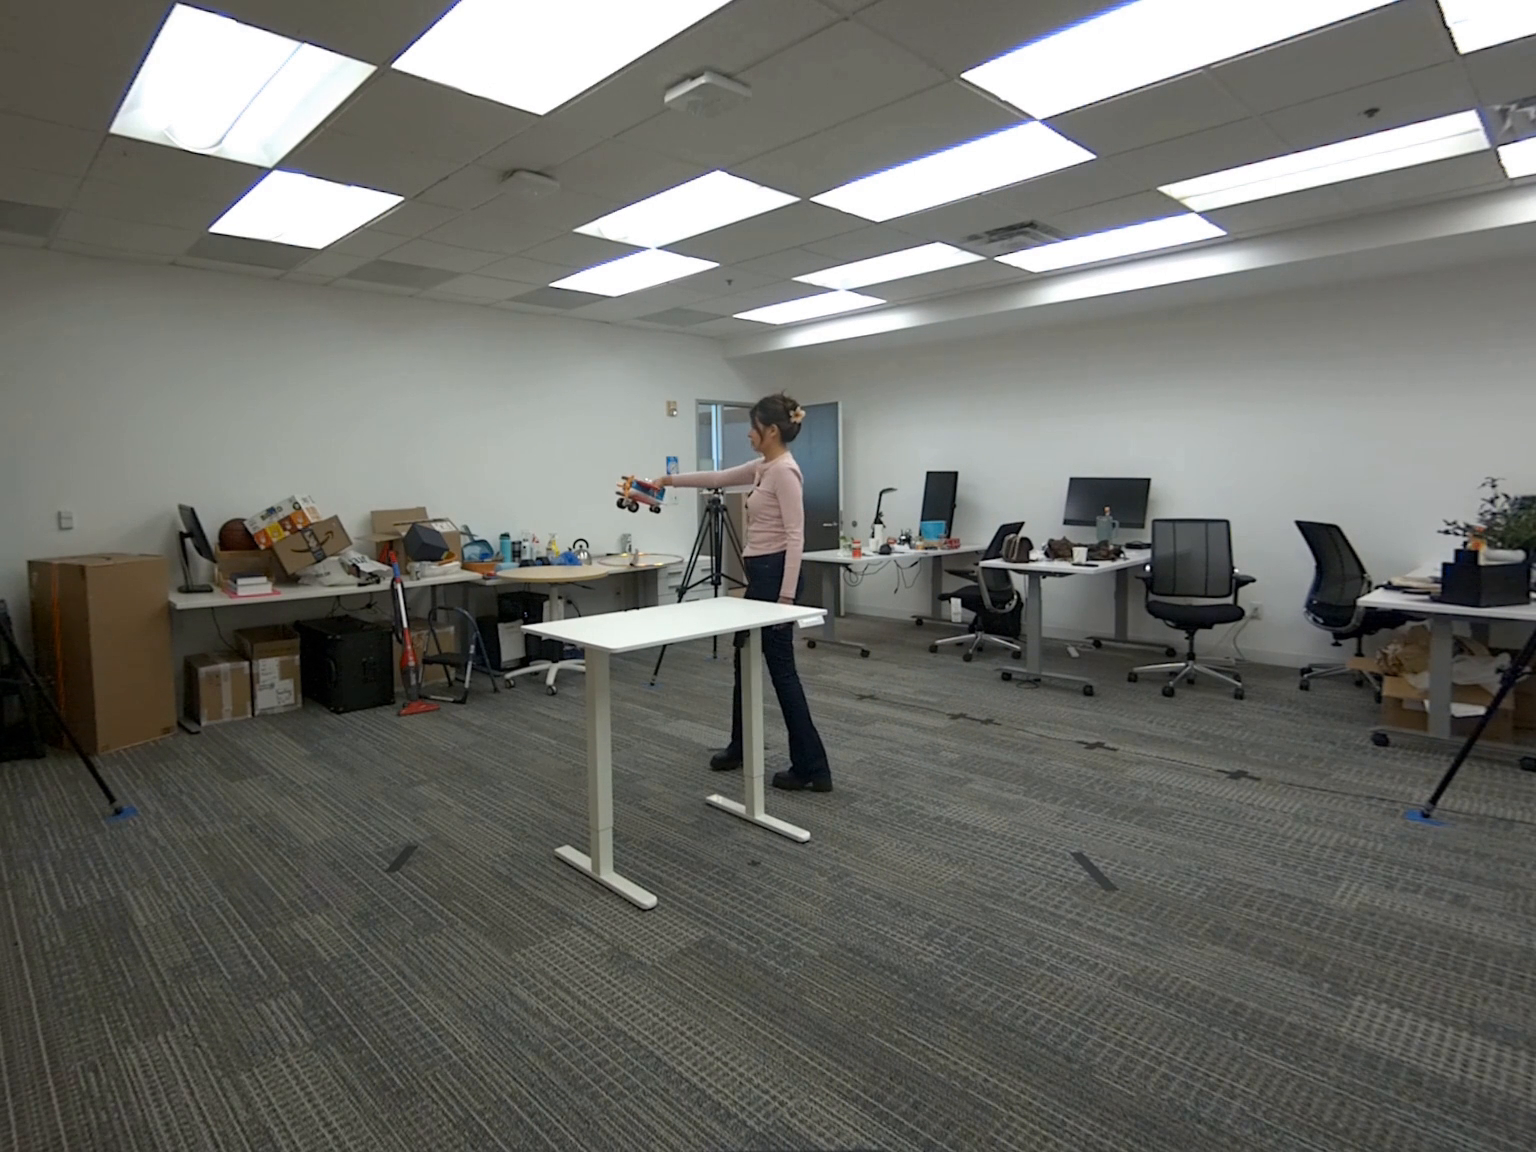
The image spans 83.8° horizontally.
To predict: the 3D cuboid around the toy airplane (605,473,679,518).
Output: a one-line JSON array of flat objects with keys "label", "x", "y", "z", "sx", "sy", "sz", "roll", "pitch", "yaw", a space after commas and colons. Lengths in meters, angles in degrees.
[{"label": "toy airplane", "x": -0.606, "y": -0.395, "z": 4.128, "sx": 0.255, "sy": 0.155, "sz": 0.256, "roll": 14, "pitch": 9, "yaw": 14}]
